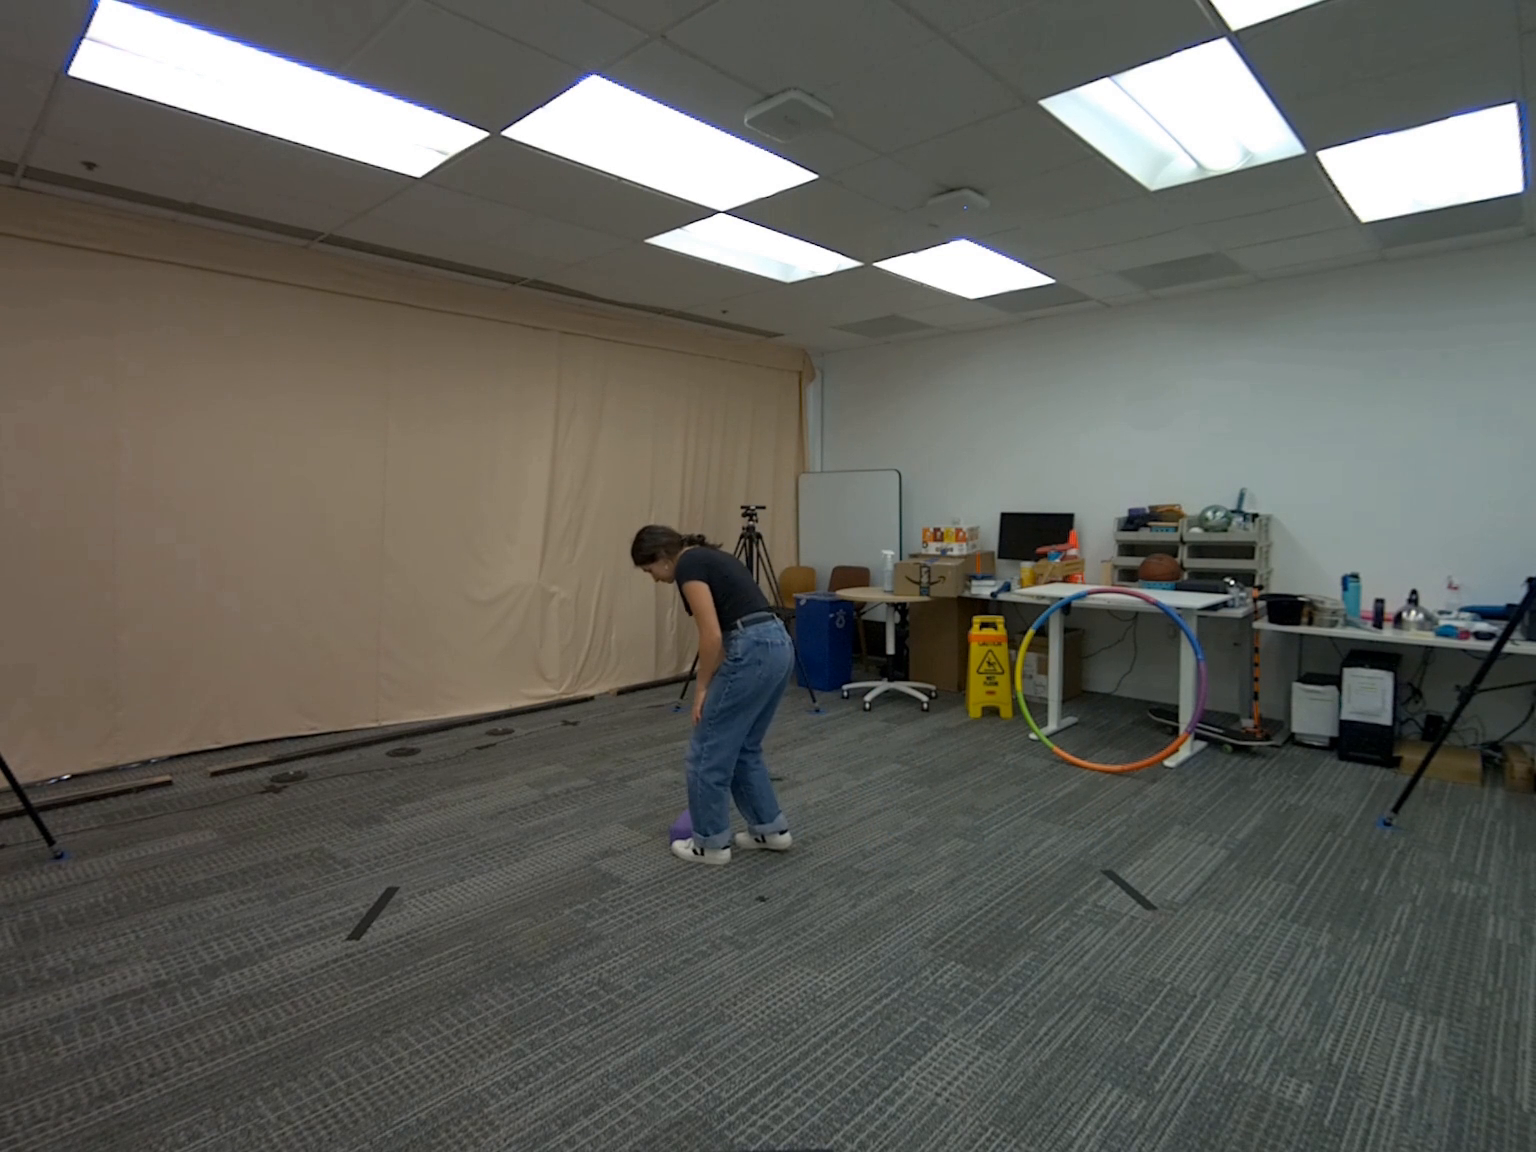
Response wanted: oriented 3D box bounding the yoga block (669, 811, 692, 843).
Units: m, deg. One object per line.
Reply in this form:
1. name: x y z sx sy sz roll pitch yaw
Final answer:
1. yoga block: -0.302 1.058 3.540 0.151 0.076 0.226 1 5 13
